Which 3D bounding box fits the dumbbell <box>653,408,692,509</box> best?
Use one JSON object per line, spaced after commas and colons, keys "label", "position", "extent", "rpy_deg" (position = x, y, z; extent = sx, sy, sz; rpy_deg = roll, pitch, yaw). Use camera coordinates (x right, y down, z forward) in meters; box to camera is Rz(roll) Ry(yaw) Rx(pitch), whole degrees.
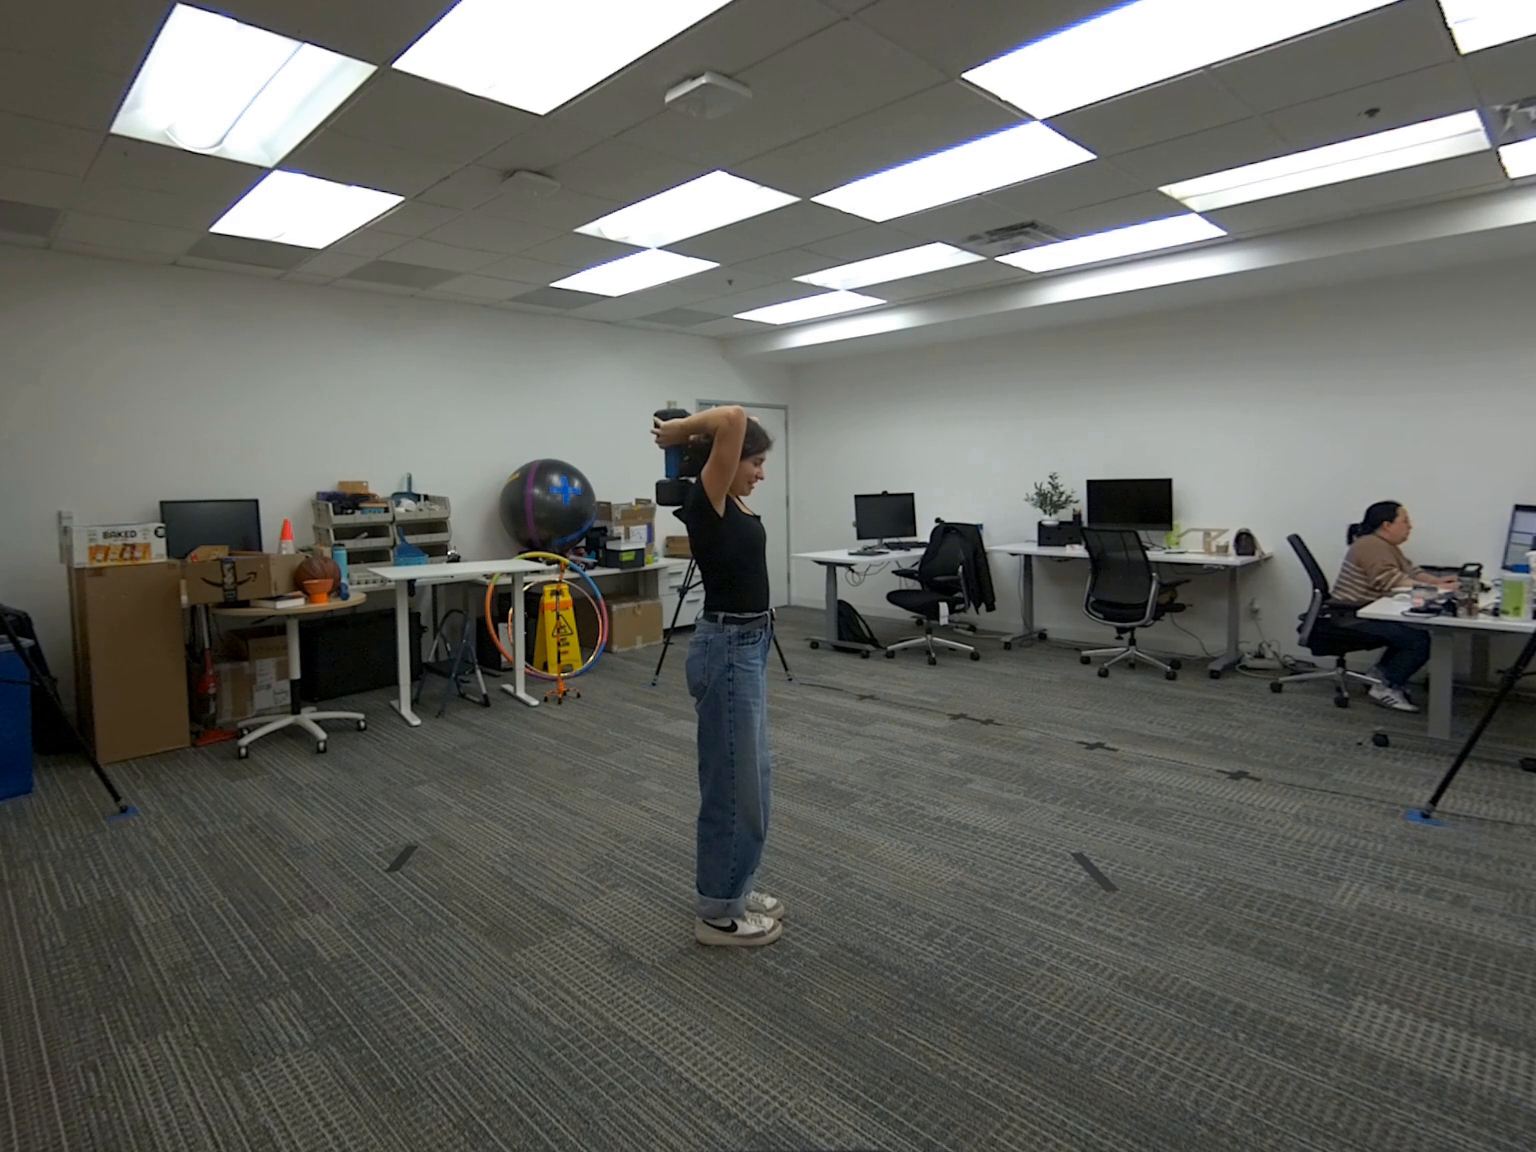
{"label": "dumbbell", "position": [-0.281, -0.367, 2.608], "extent": [0.106, 0.293, 0.126], "rpy_deg": [-1, 0, -40]}
